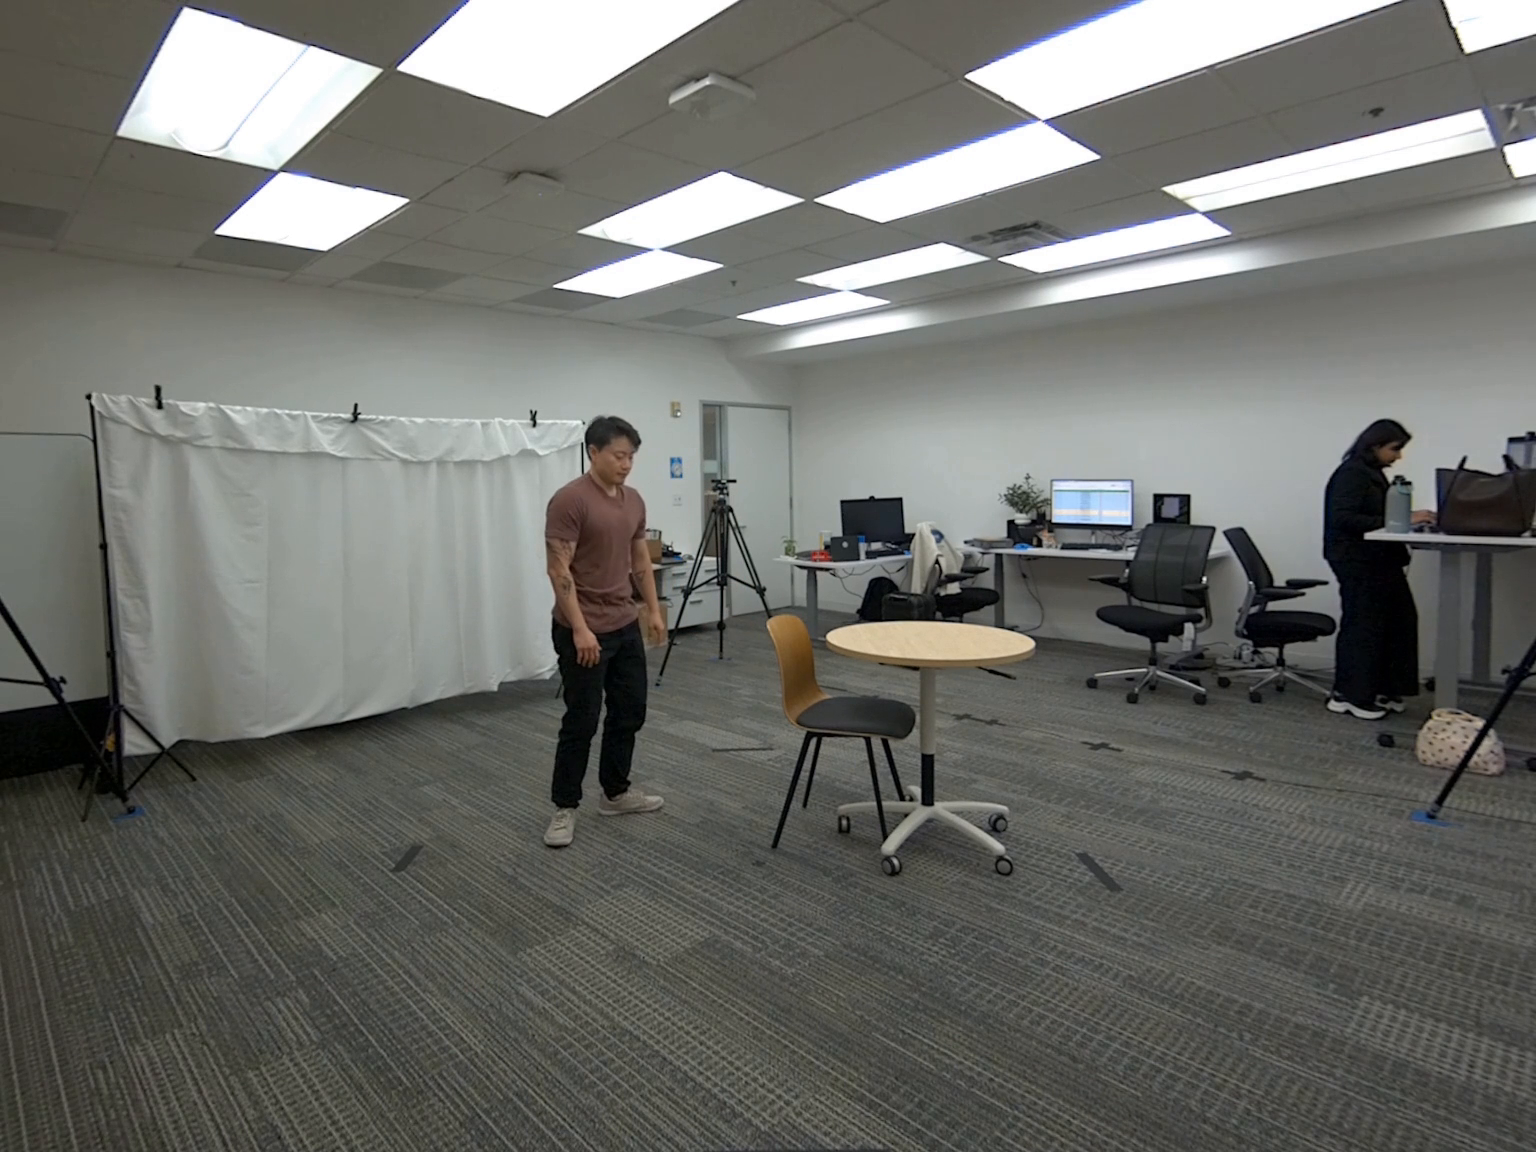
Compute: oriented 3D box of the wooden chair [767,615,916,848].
[{"bbox_3d":[0.294,0.583,3.319,0.533,0.876,0.470,-4,2,21],"label":"wooden chair"}]
